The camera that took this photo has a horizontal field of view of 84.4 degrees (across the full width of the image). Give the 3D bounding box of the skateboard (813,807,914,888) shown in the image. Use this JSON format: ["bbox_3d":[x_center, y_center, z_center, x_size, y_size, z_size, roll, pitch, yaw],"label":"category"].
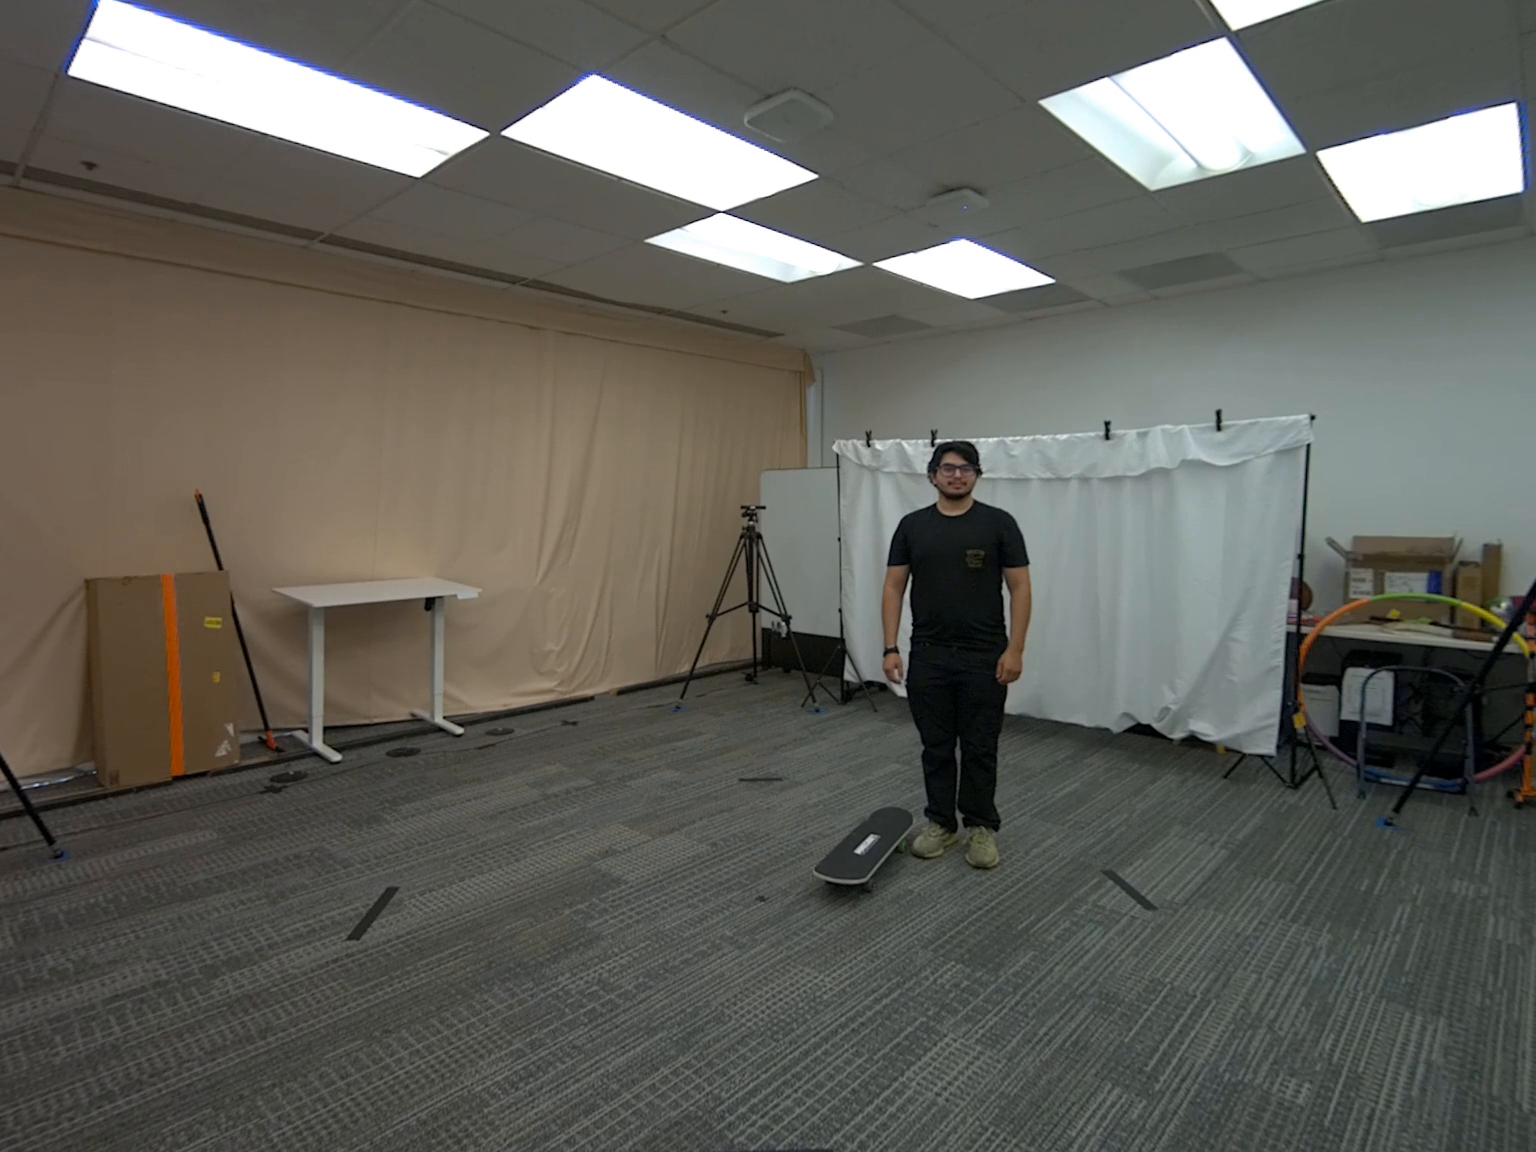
[{"bbox_3d":[0.384,1.064,3.238,0.199,0.110,0.766,3,5,26],"label":"skateboard"}]
